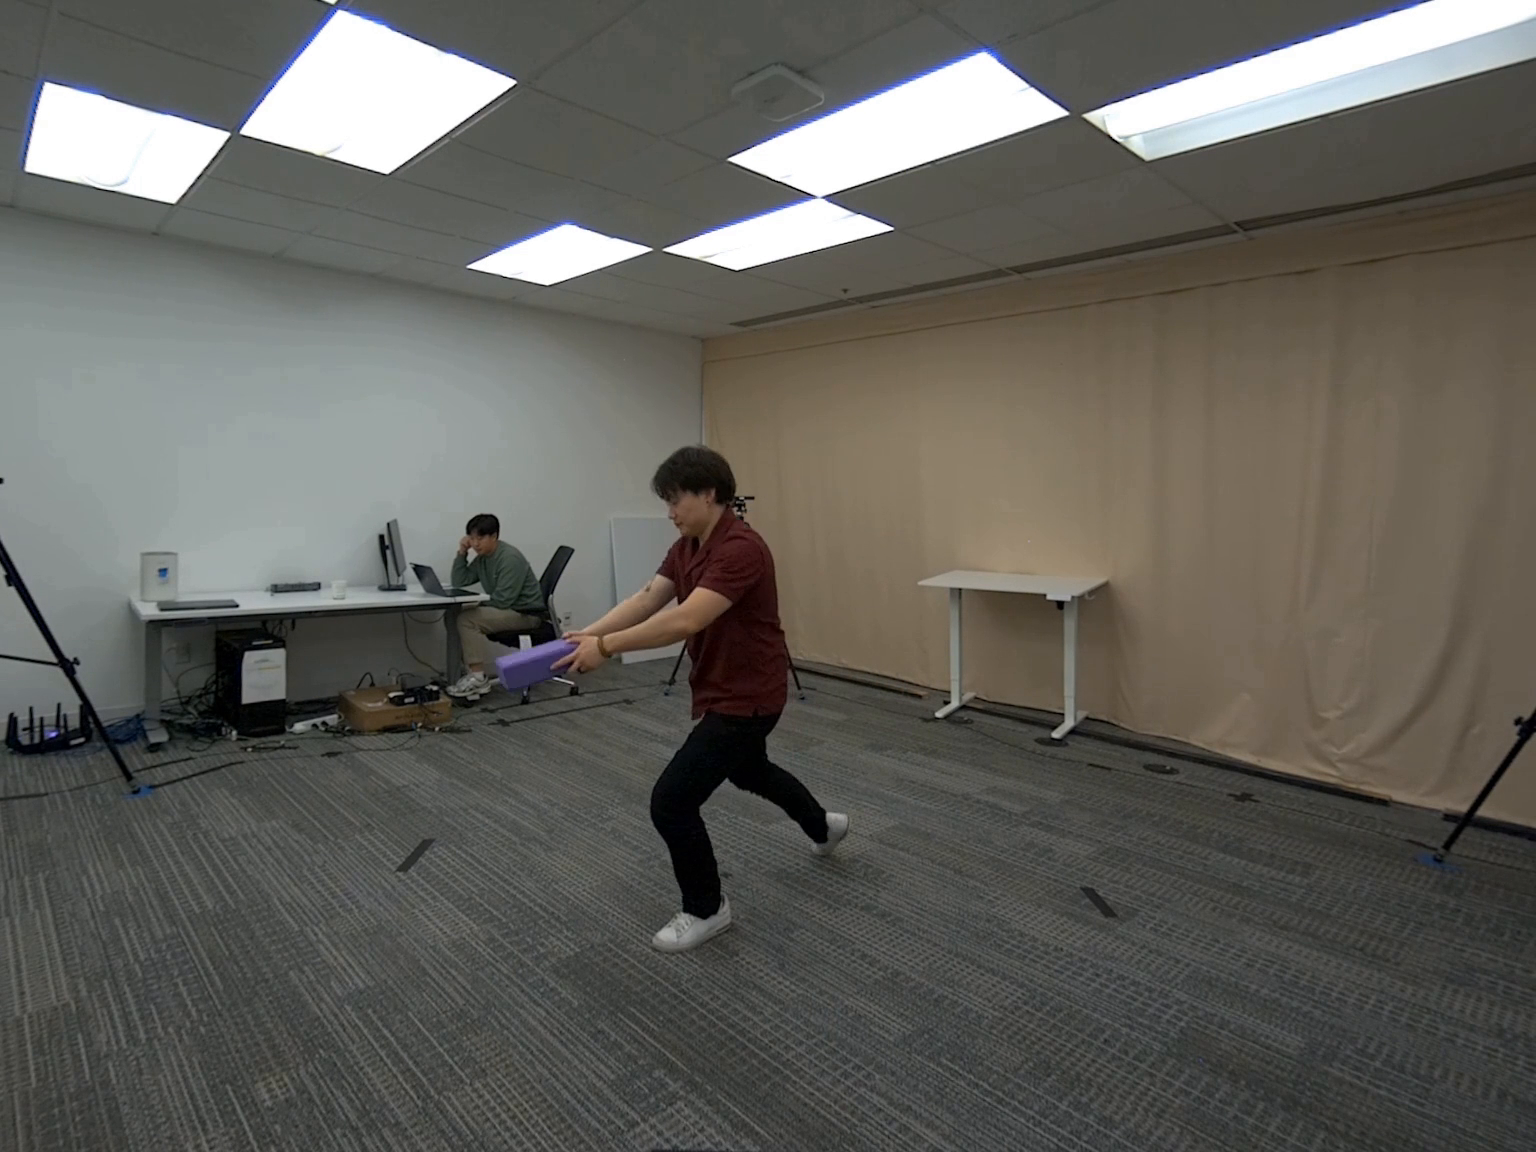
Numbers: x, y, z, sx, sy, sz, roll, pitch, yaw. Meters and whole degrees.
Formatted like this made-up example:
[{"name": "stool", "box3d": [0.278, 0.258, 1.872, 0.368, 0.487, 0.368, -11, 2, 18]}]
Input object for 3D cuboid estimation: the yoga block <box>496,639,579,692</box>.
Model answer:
[{"name": "yoga block", "box3d": [-0.633, 0.253, 2.428, 0.227, 0.076, 0.151, -12, 8, -15]}]
